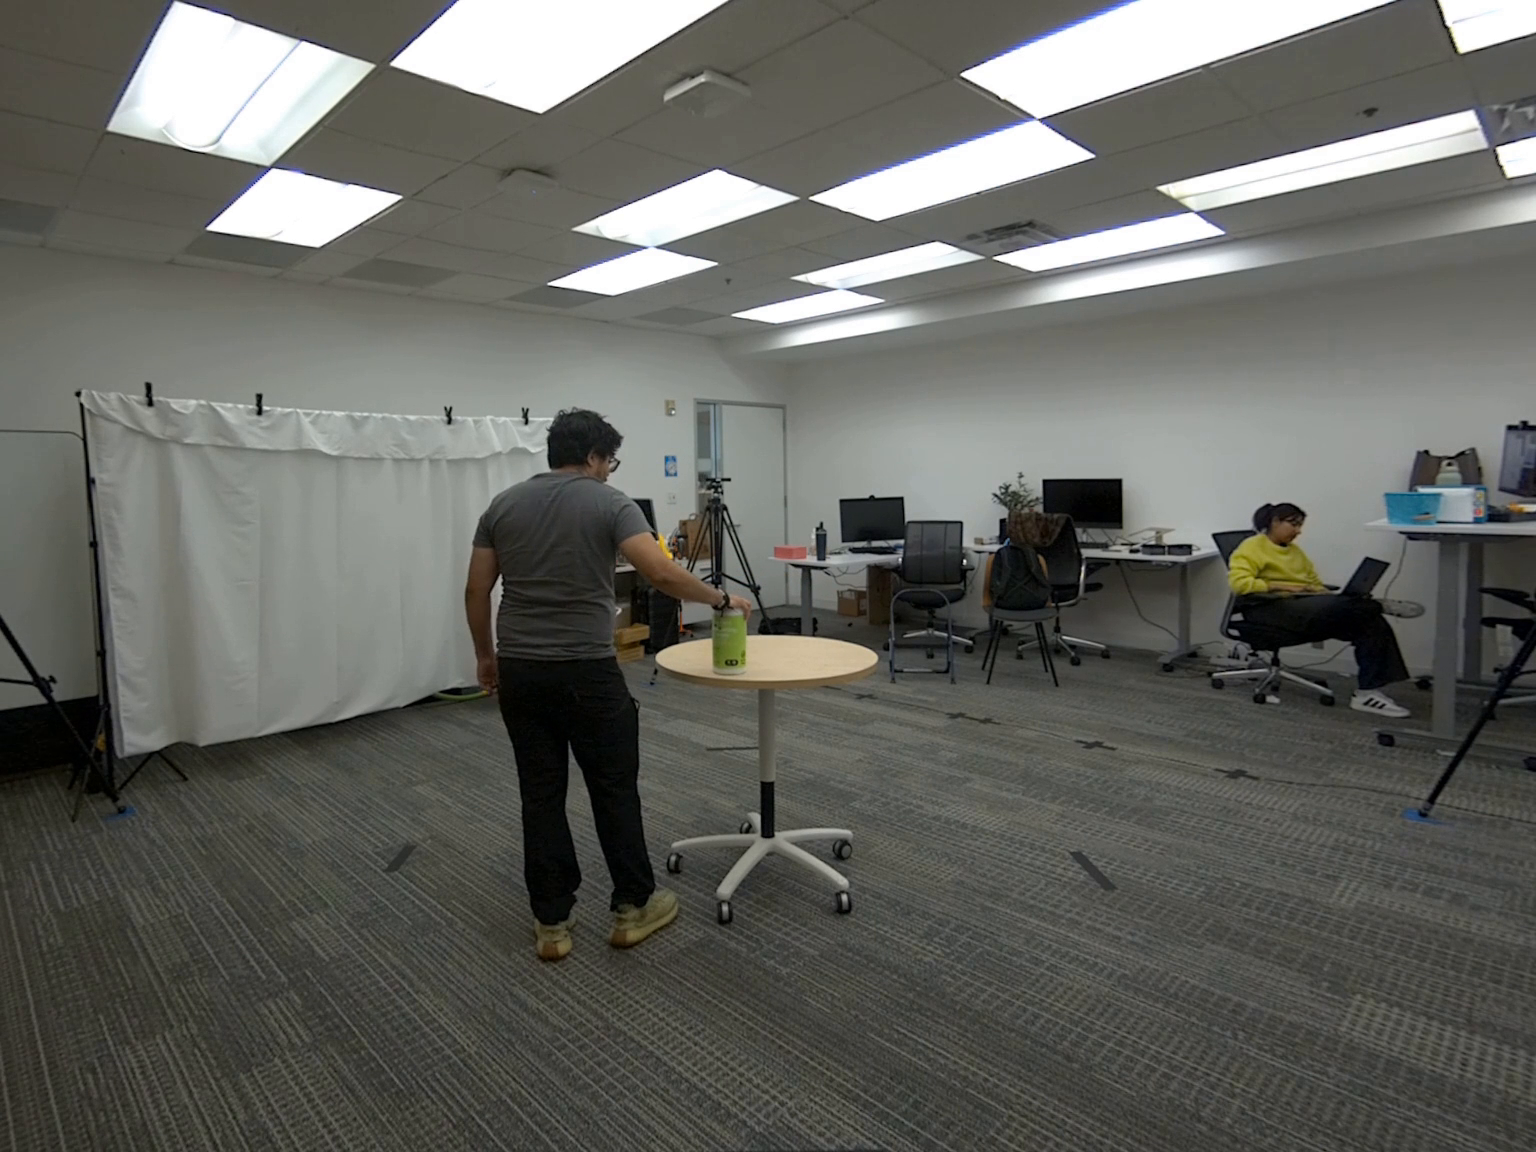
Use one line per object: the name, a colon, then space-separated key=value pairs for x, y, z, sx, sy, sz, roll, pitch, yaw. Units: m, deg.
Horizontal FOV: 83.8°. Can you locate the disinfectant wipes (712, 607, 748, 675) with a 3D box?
disinfectant wipes: x=-0.120 y=0.197 z=2.706 sx=0.118 sy=0.216 sz=0.118 roll=-2 pitch=5 yaw=-2
